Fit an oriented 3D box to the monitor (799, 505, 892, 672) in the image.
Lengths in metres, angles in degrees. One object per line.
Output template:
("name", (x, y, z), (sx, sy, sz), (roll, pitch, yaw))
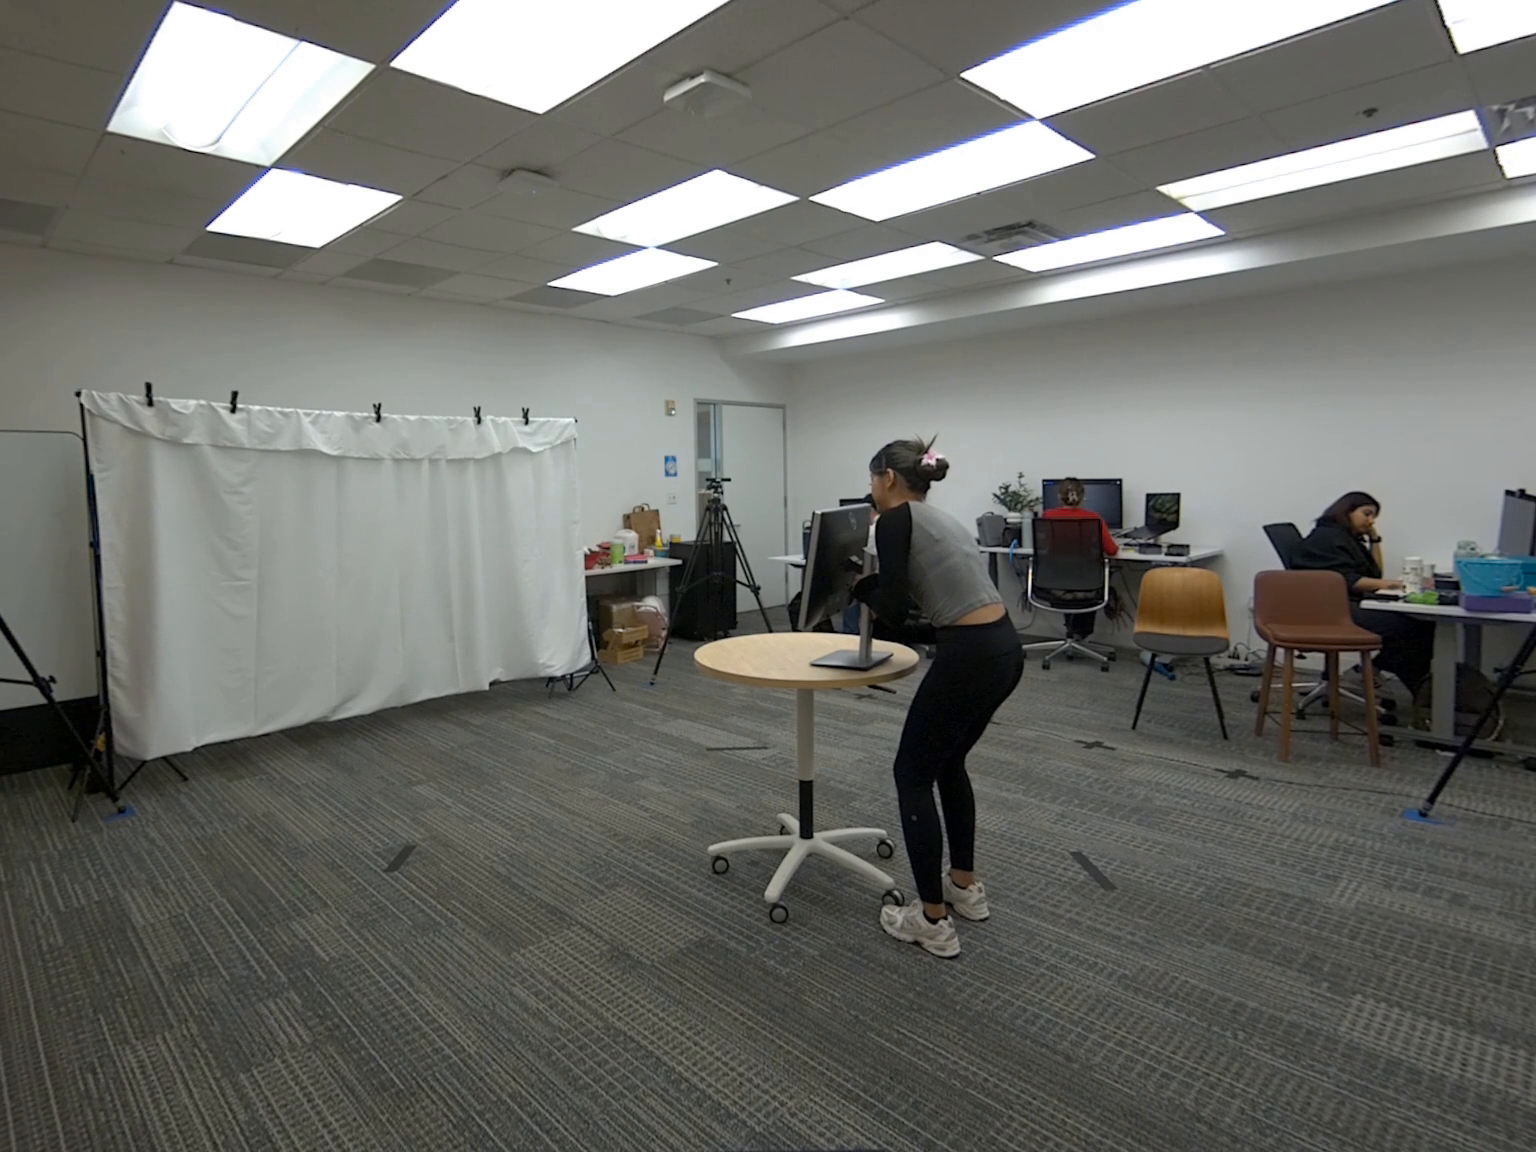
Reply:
("monitor", (0.270, 0.035, 2.792), (0.191, 0.521, 0.529), (-4, 4, 24))
